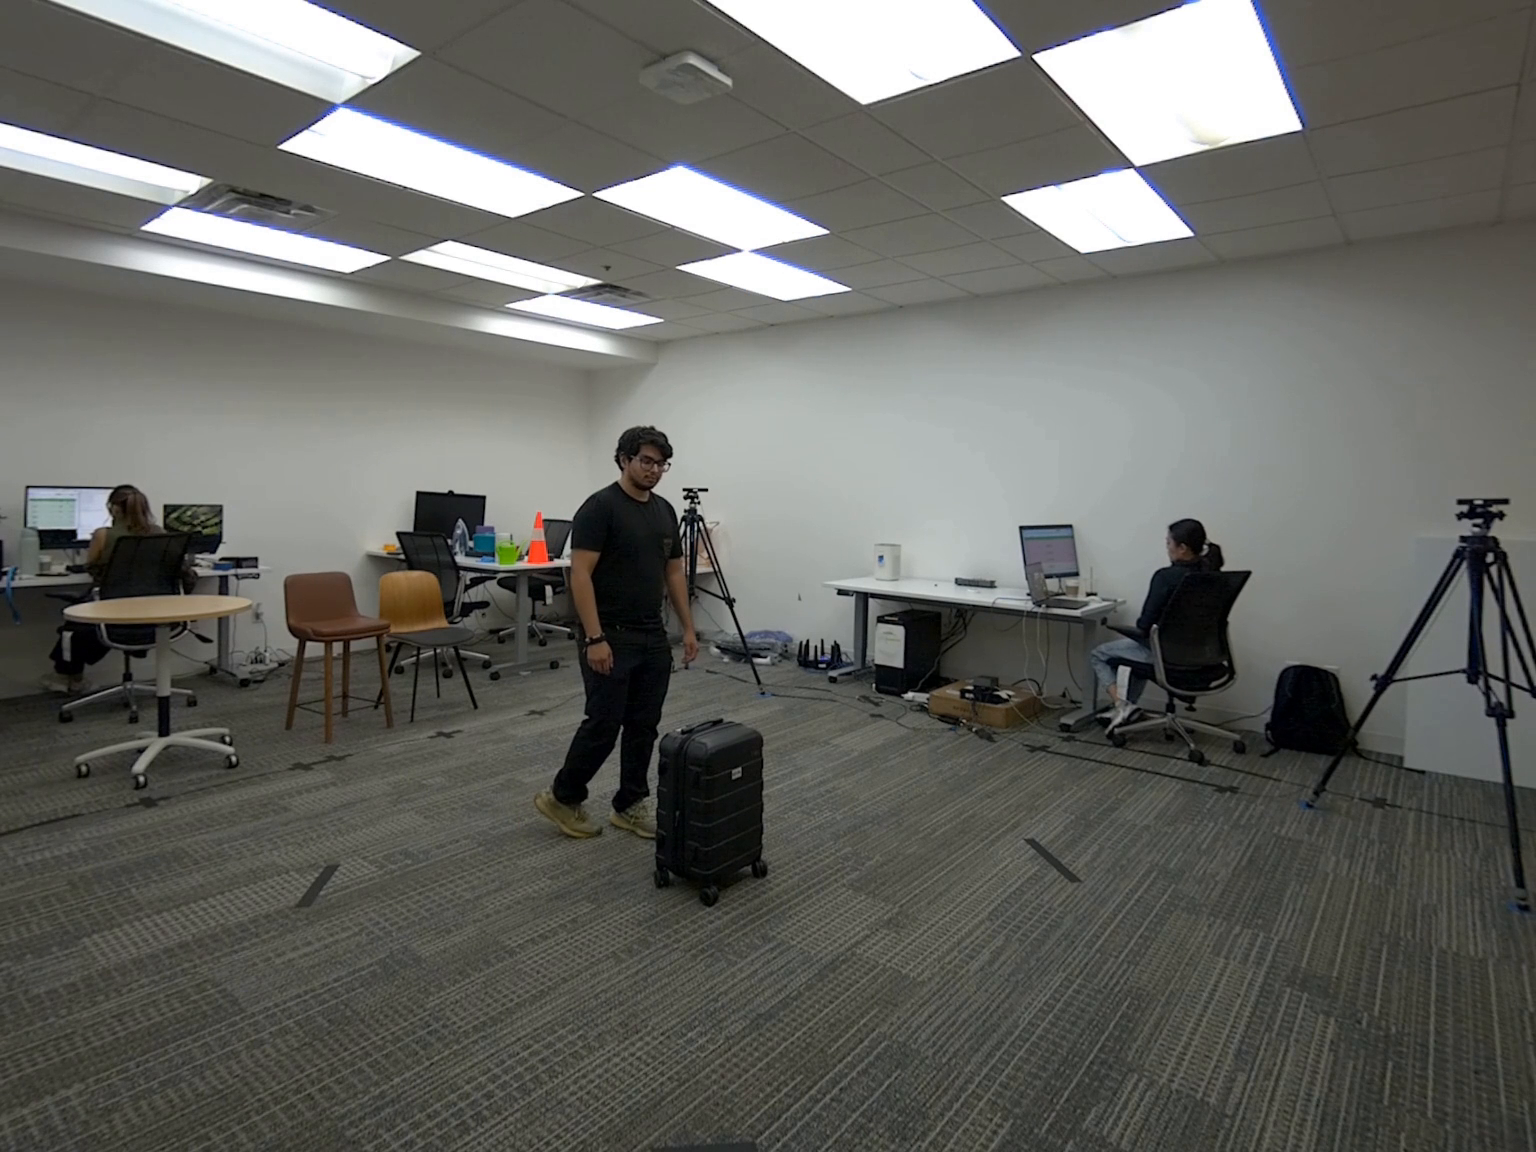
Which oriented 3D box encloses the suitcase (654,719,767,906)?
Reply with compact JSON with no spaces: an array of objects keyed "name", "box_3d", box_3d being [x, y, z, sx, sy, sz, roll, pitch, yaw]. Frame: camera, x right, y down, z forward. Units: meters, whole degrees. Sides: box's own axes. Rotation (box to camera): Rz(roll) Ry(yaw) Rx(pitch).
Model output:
[{"name":"suitcase","box_3d":[-0.208,0.803,3.029,0.256,0.548,0.364,2,2,37]}]
